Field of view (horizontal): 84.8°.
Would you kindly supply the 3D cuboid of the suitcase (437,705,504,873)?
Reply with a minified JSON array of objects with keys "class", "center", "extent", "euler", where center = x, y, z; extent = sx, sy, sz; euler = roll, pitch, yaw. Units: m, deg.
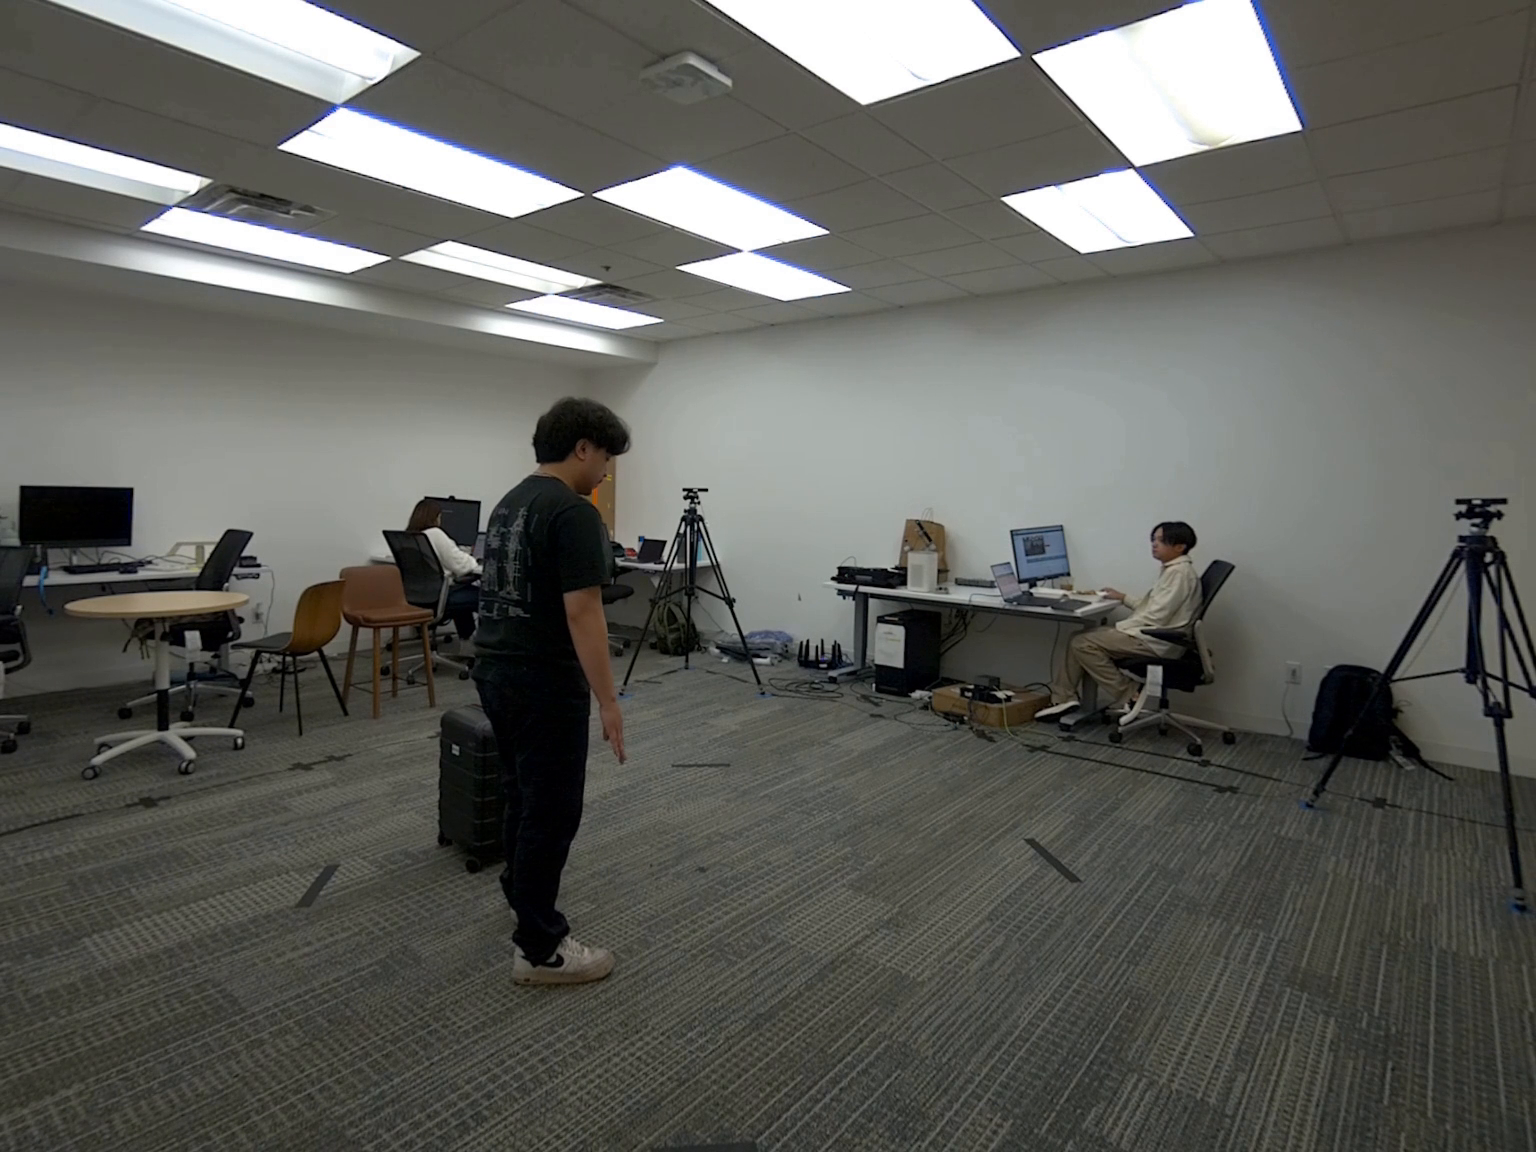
[{"class":"suitcase","center":[-1.084,0.771,3.222],"extent":[0.241,0.548,0.388],"euler":[-2,5,-45]}]
